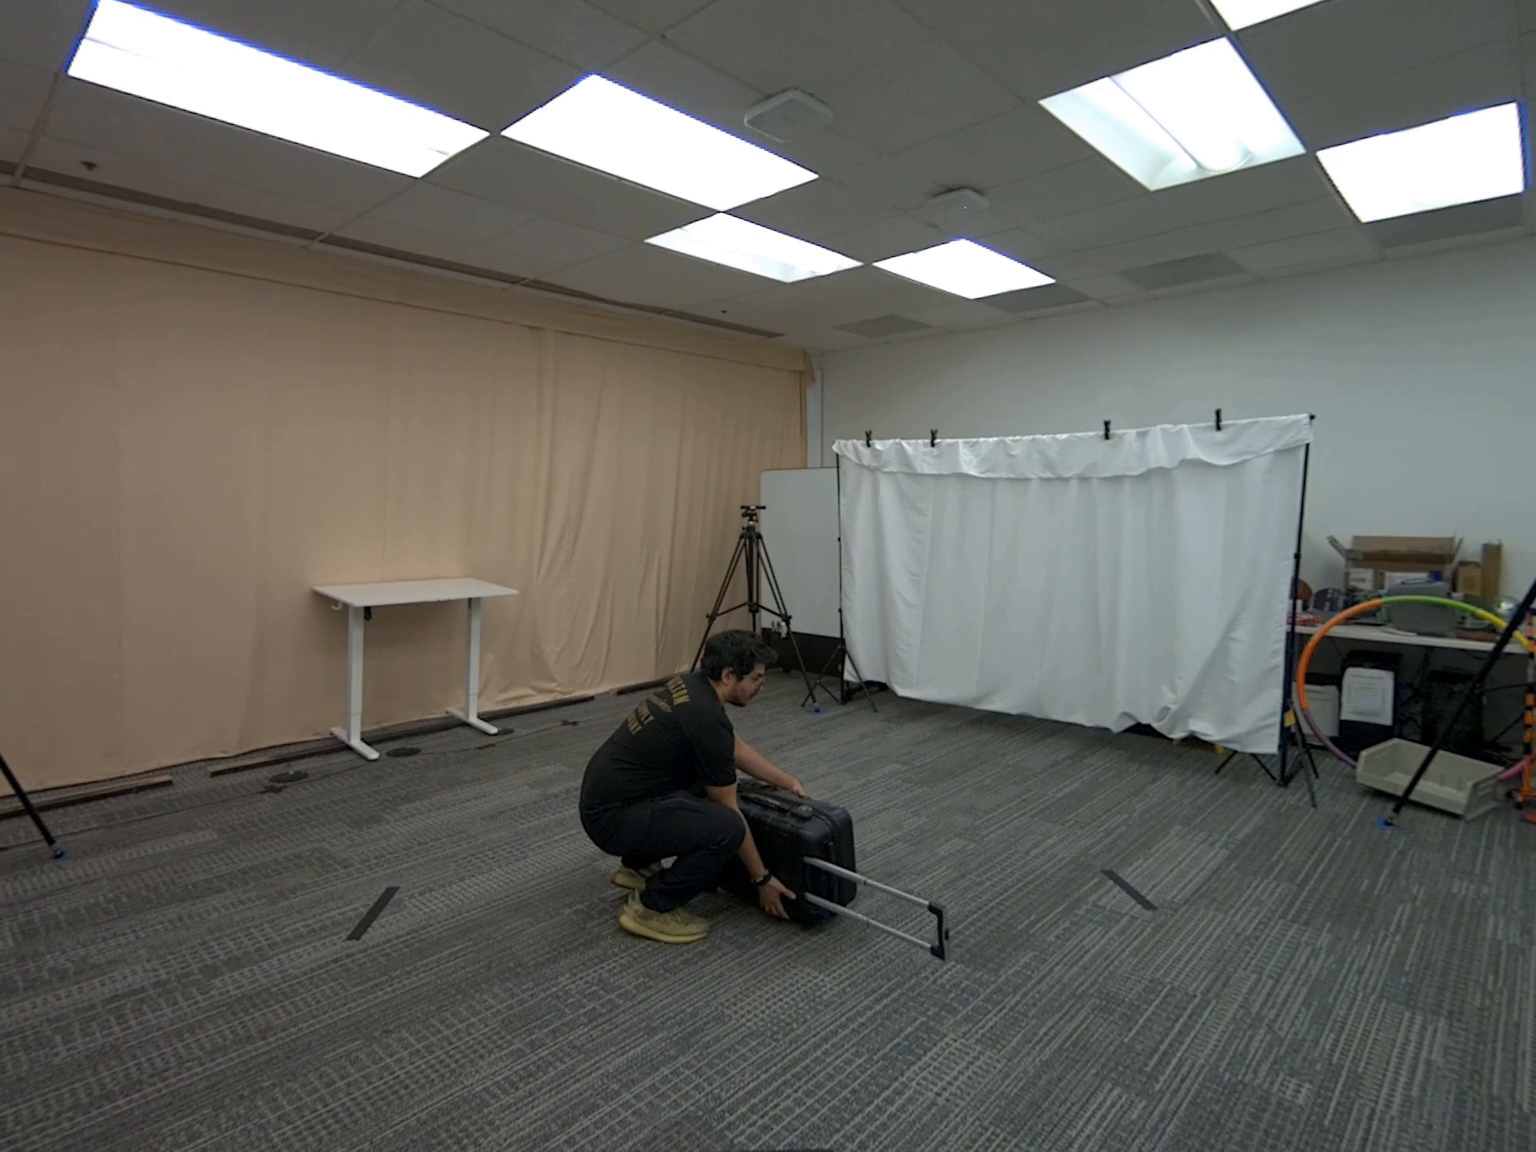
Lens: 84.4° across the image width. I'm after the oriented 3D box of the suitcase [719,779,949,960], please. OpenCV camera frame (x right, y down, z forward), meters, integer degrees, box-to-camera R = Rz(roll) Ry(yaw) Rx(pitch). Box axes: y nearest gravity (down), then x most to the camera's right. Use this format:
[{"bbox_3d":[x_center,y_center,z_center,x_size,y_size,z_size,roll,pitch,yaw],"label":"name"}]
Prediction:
[{"bbox_3d":[0.205,0.957,2.775,1.011,0.382,0.250,3,9,42],"label":"suitcase"}]
